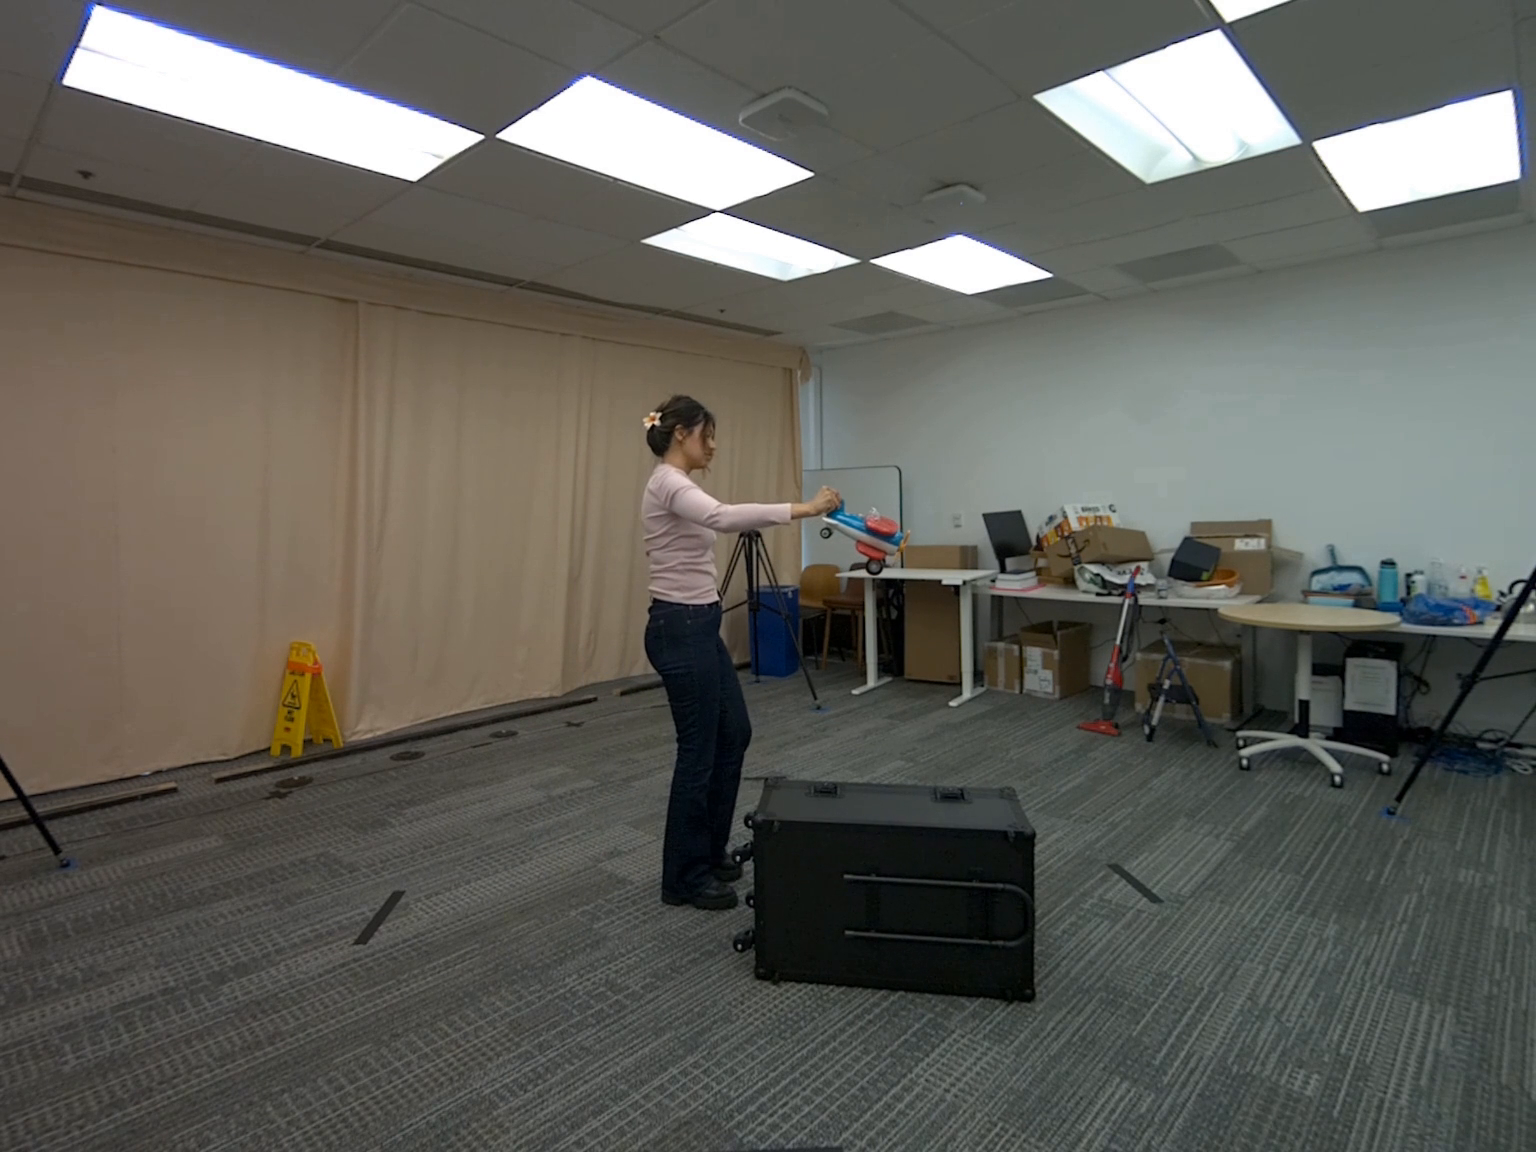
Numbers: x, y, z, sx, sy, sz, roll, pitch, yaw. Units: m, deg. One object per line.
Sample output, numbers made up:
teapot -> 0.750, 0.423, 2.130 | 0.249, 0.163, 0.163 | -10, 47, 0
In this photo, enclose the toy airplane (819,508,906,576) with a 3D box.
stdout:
toy airplane -> 0.295, -0.121, 2.538 | 0.253, 0.157, 0.257 | 29, 17, -22
